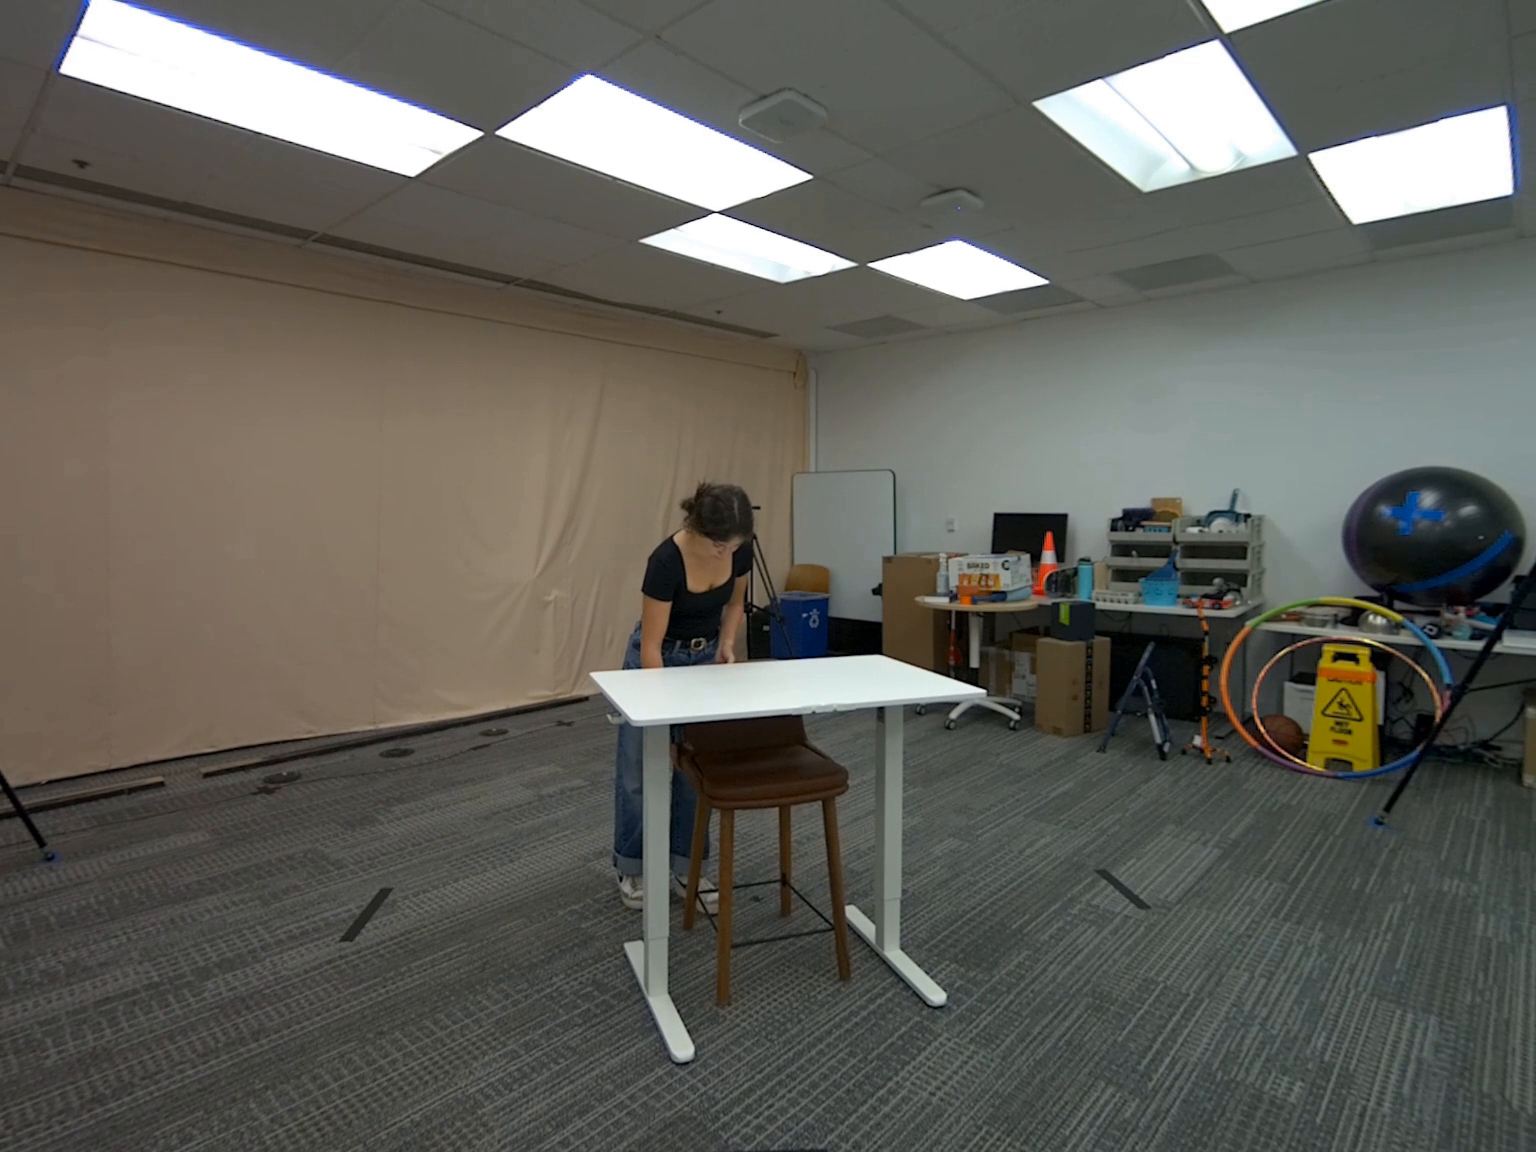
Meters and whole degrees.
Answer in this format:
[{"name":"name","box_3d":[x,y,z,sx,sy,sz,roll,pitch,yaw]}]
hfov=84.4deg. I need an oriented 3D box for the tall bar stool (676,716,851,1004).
[{"name":"tall bar stool","box_3d":[-0.022,0.747,2.602,0.447,0.889,0.477,-2,2,-21]}]
